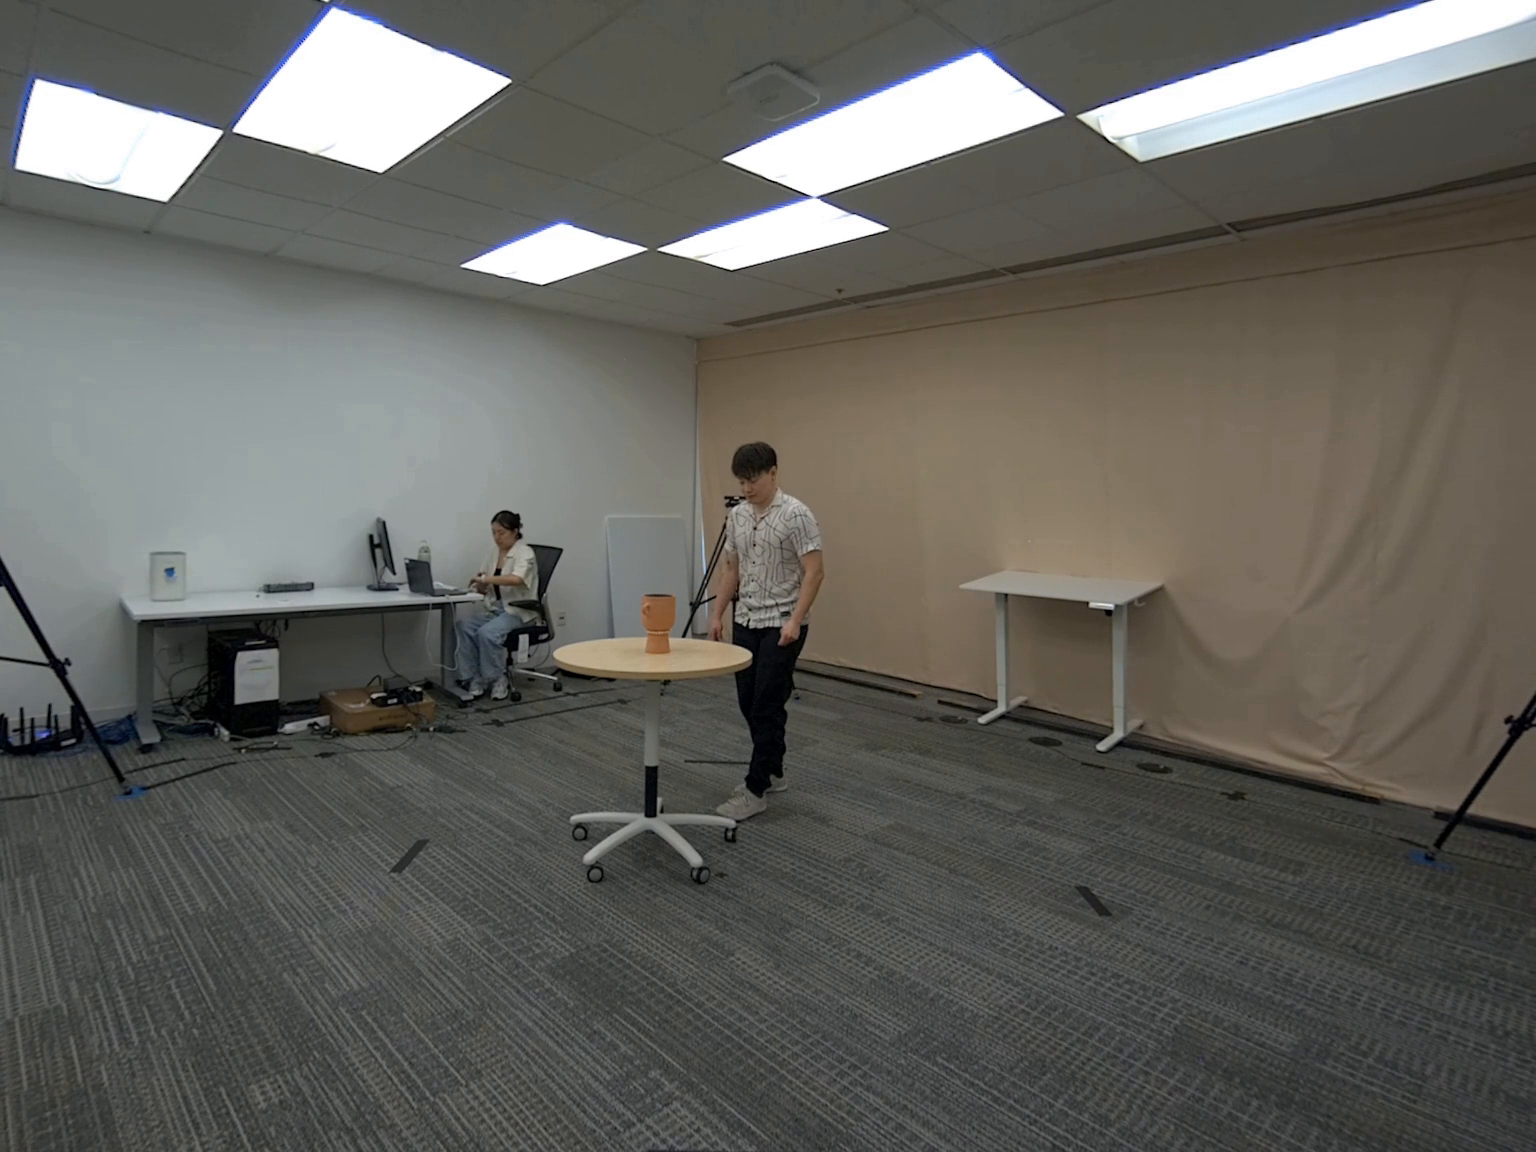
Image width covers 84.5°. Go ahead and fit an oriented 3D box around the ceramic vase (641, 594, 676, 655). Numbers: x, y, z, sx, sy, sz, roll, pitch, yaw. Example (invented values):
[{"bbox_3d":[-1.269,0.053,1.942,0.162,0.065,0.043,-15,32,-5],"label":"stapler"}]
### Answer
[{"bbox_3d":[-0.439,0.188,3.287,0.156,0.219,0.137,1,2,-22],"label":"ceramic vase"}]
